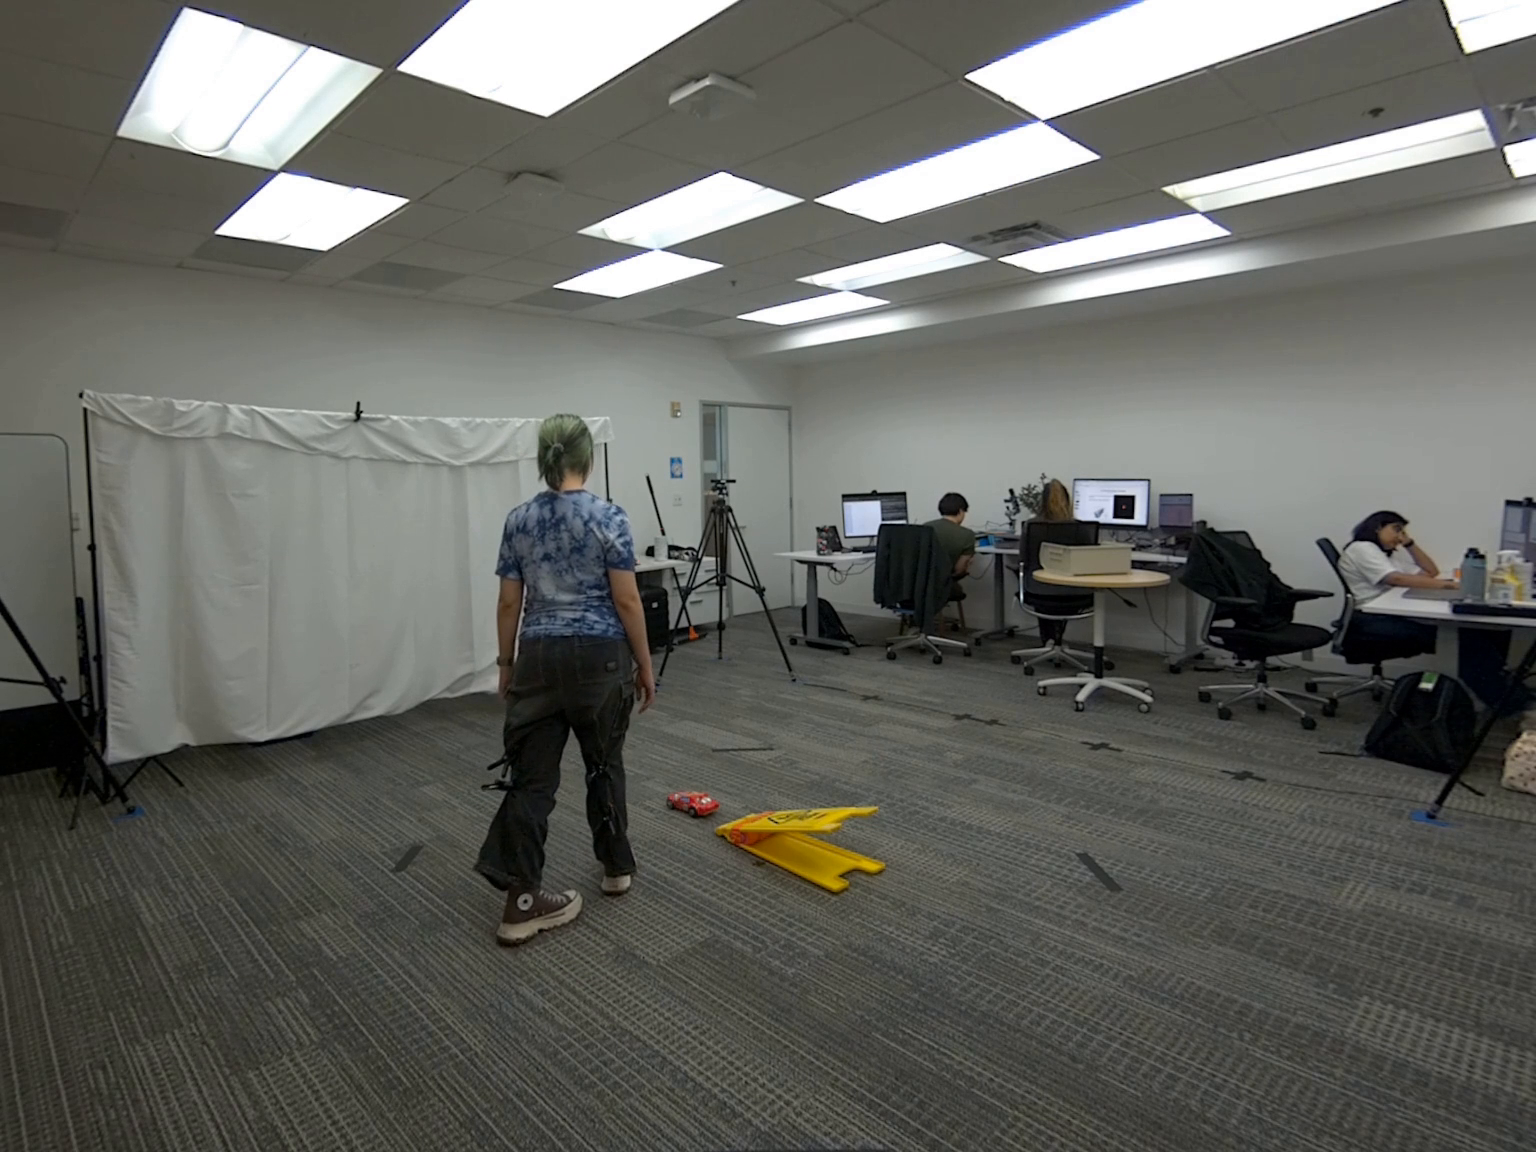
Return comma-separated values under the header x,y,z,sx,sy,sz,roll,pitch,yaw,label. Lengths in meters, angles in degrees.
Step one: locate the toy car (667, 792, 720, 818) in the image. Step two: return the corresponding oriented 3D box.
x,y,z,sx,sy,sz,roll,pitch,yaw,label
-0.317,0.963,3.615,0.260,0.083,0.127,-11,-3,44,toy car
